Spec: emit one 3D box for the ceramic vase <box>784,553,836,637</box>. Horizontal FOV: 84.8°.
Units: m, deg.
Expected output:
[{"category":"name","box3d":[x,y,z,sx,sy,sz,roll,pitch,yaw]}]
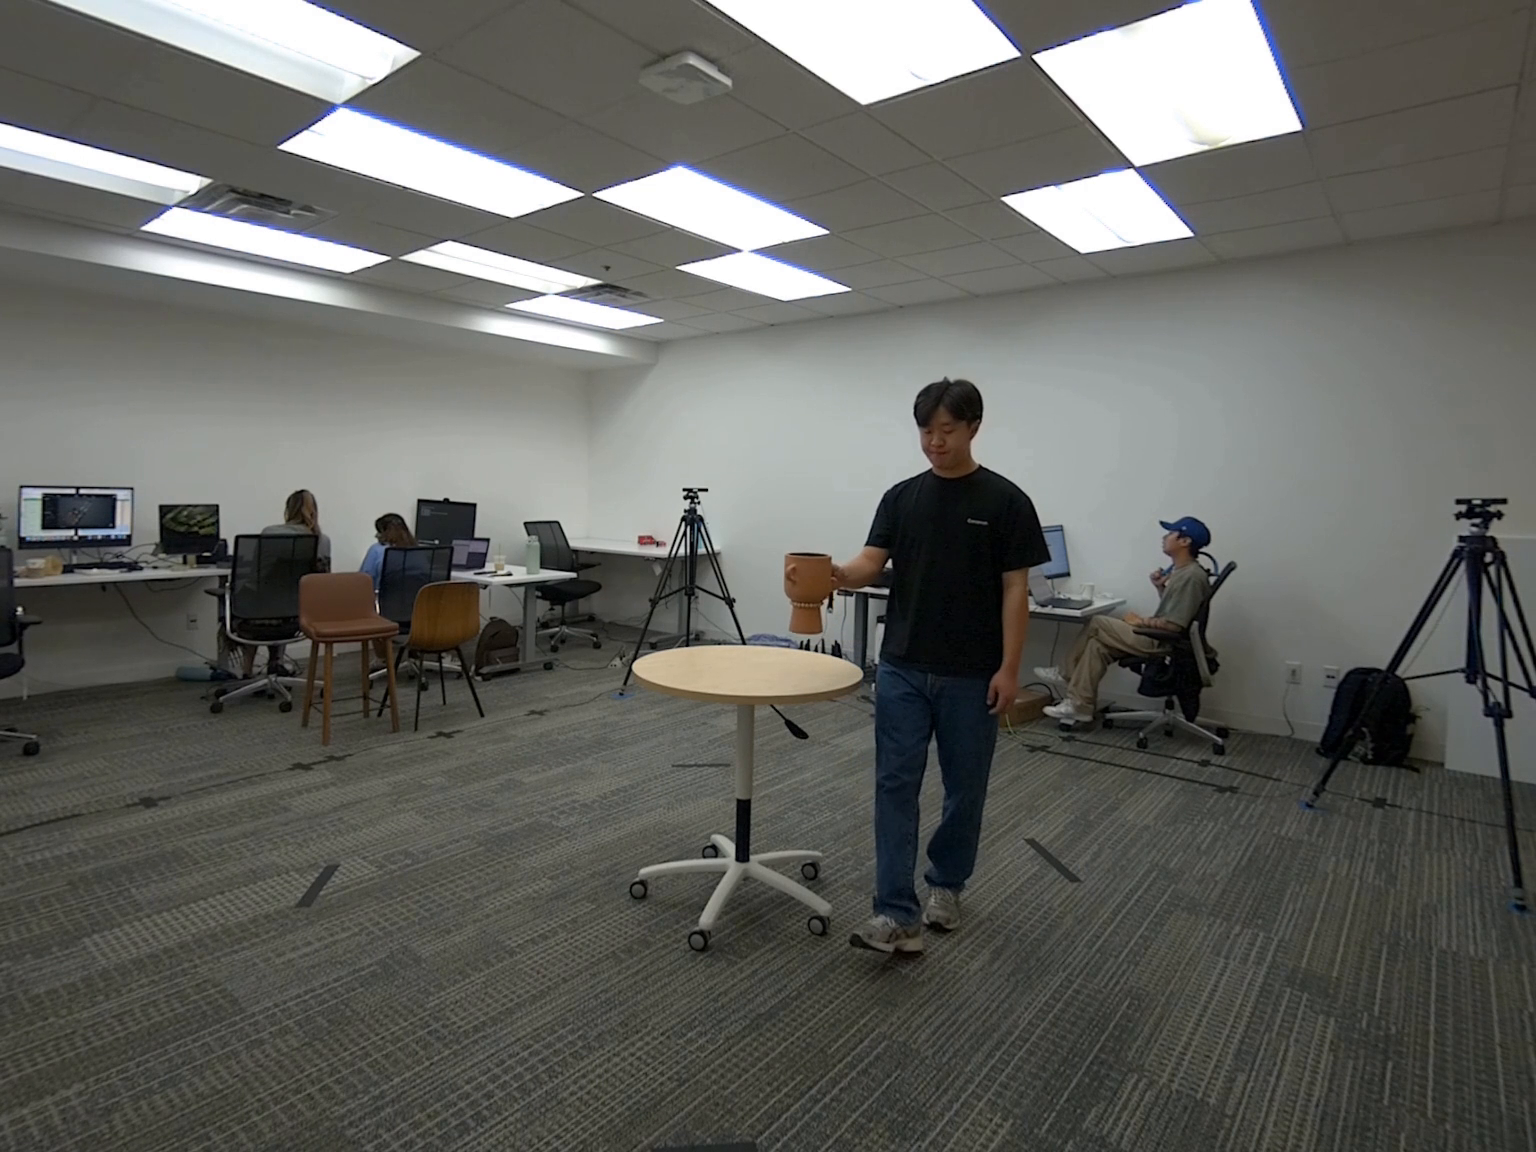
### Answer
[{"category":"ceramic vase","box3d":[0.104,0.047,2.423,0.157,0.219,0.137,0,5,-13]}]
